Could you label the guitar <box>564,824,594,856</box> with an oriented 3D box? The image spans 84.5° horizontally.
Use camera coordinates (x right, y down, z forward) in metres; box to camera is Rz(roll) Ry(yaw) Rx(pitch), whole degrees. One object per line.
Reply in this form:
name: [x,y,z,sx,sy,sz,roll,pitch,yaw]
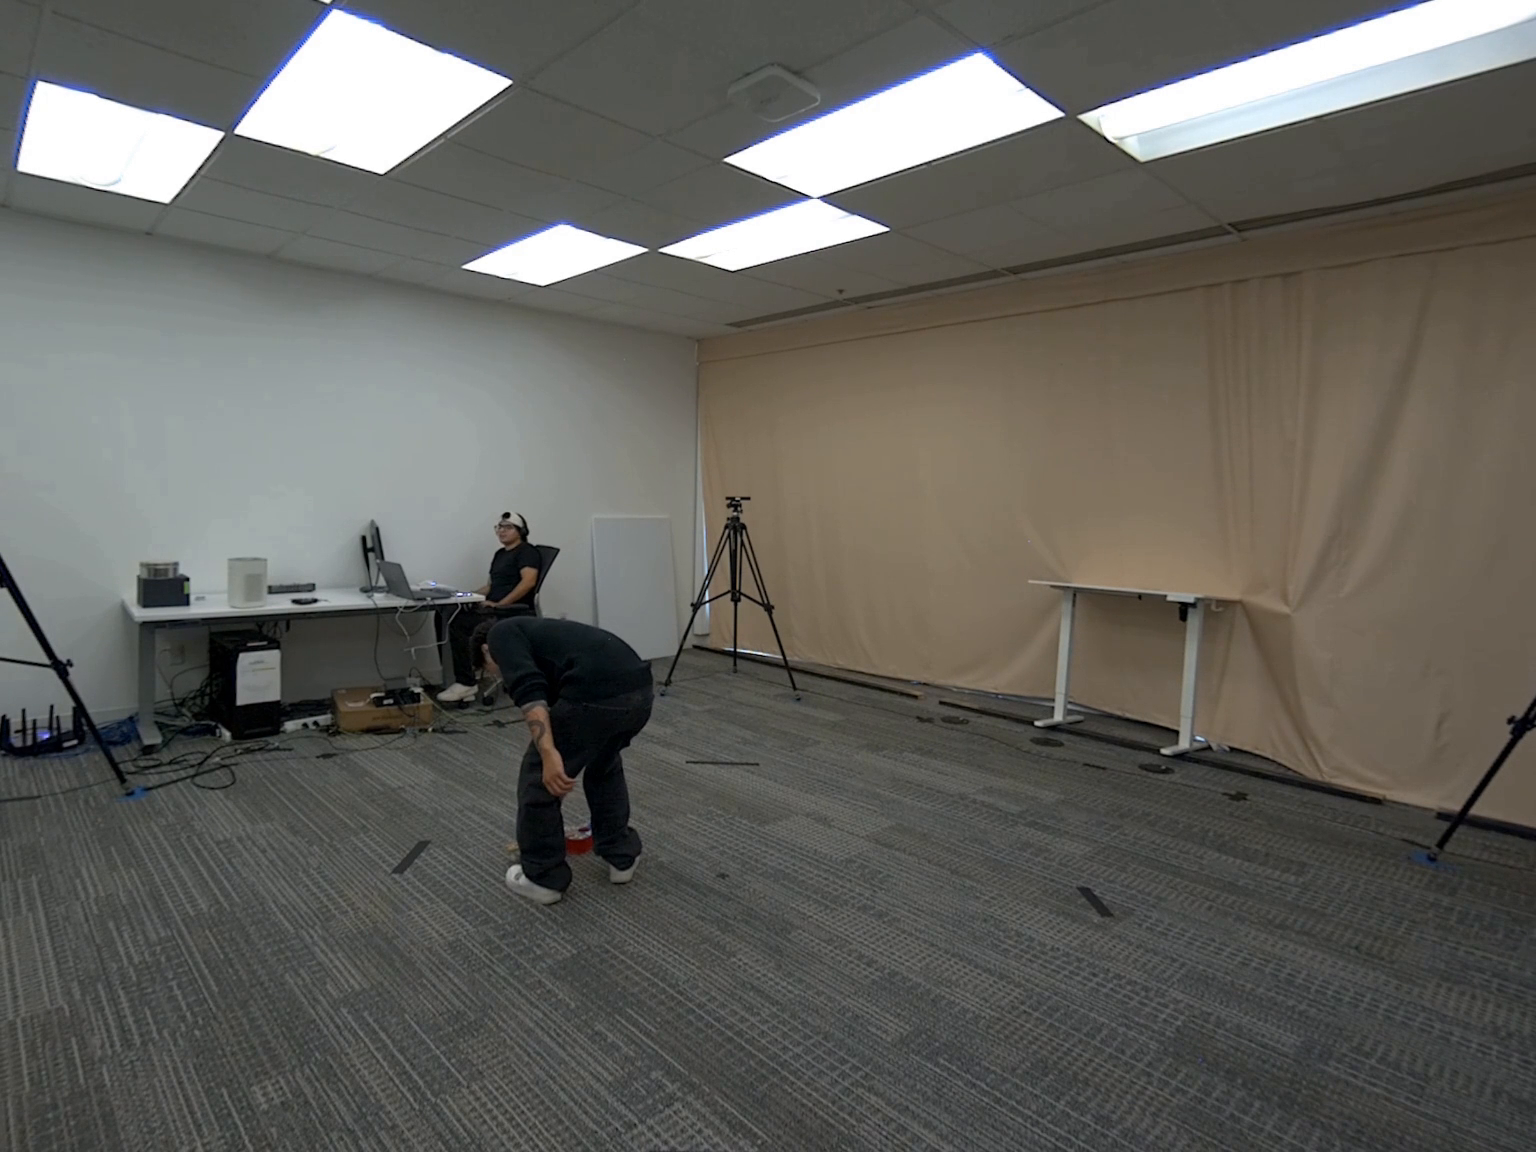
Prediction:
guitar: [-0.814,1.044,3.331,0.488,0.070,0.197,-1,6,-29]
